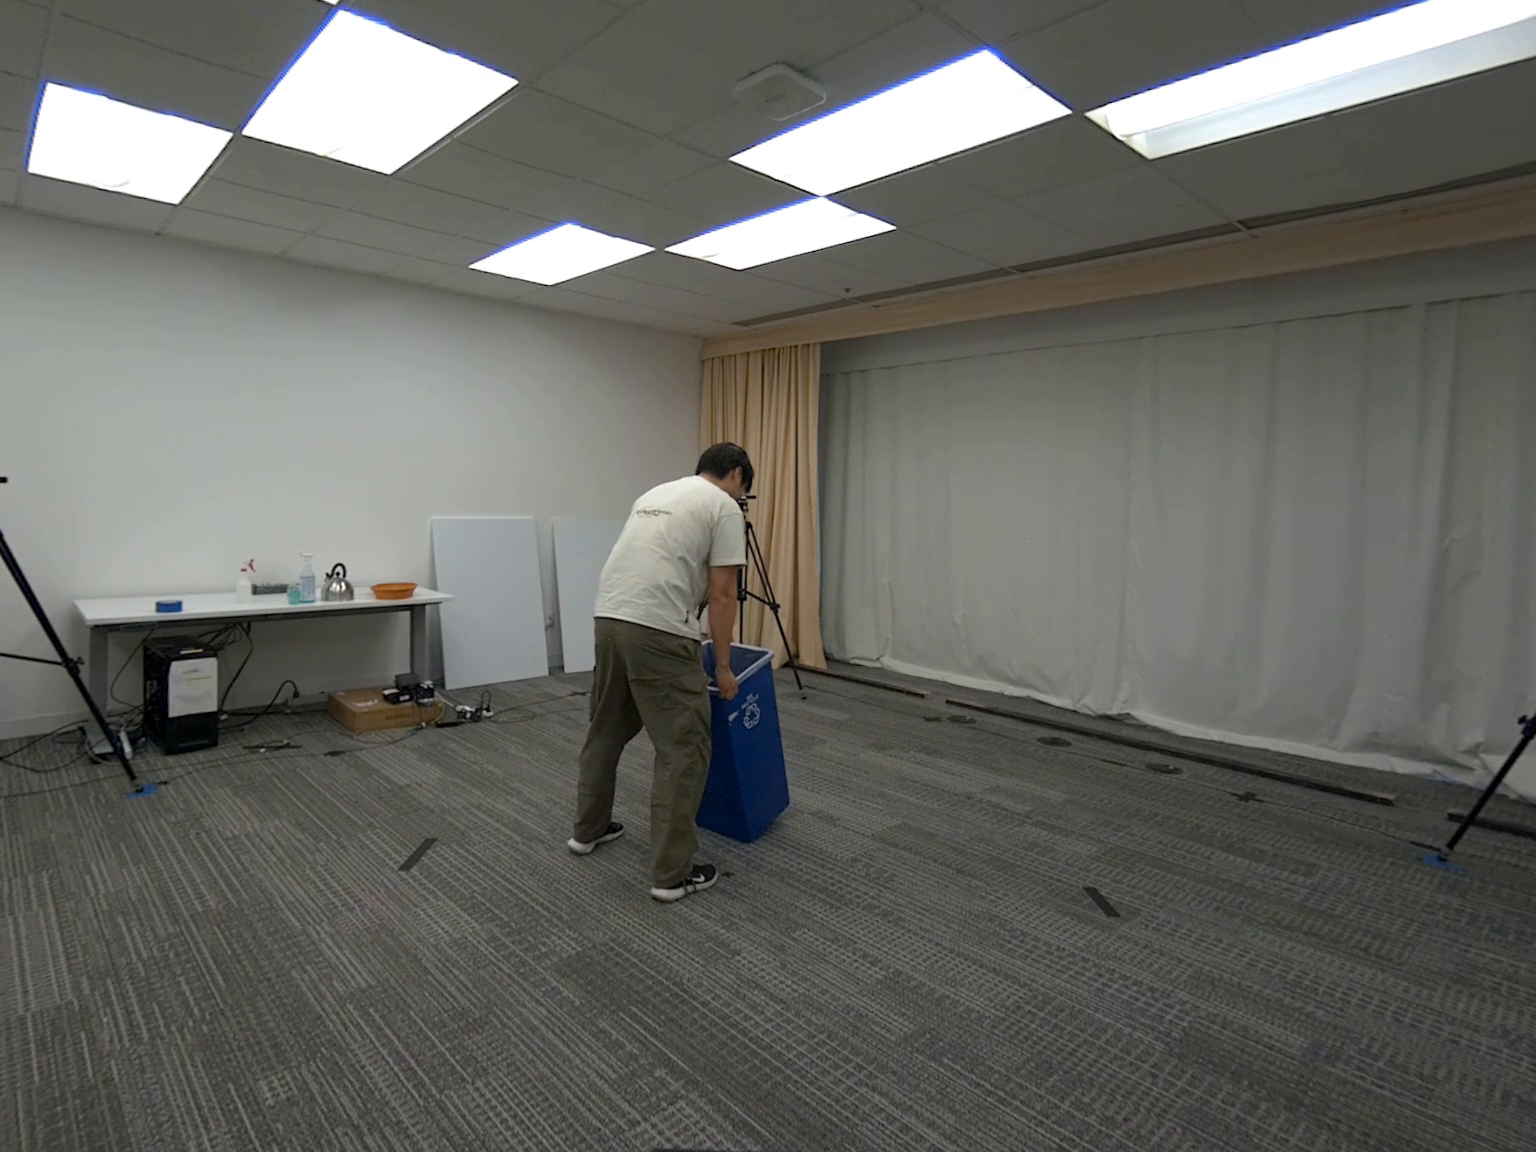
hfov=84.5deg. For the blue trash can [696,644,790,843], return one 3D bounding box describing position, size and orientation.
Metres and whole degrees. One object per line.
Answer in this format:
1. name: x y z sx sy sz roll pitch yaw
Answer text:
1. blue trash can: -0.168 0.679 3.477 0.387 0.702 0.370 5 24 37
